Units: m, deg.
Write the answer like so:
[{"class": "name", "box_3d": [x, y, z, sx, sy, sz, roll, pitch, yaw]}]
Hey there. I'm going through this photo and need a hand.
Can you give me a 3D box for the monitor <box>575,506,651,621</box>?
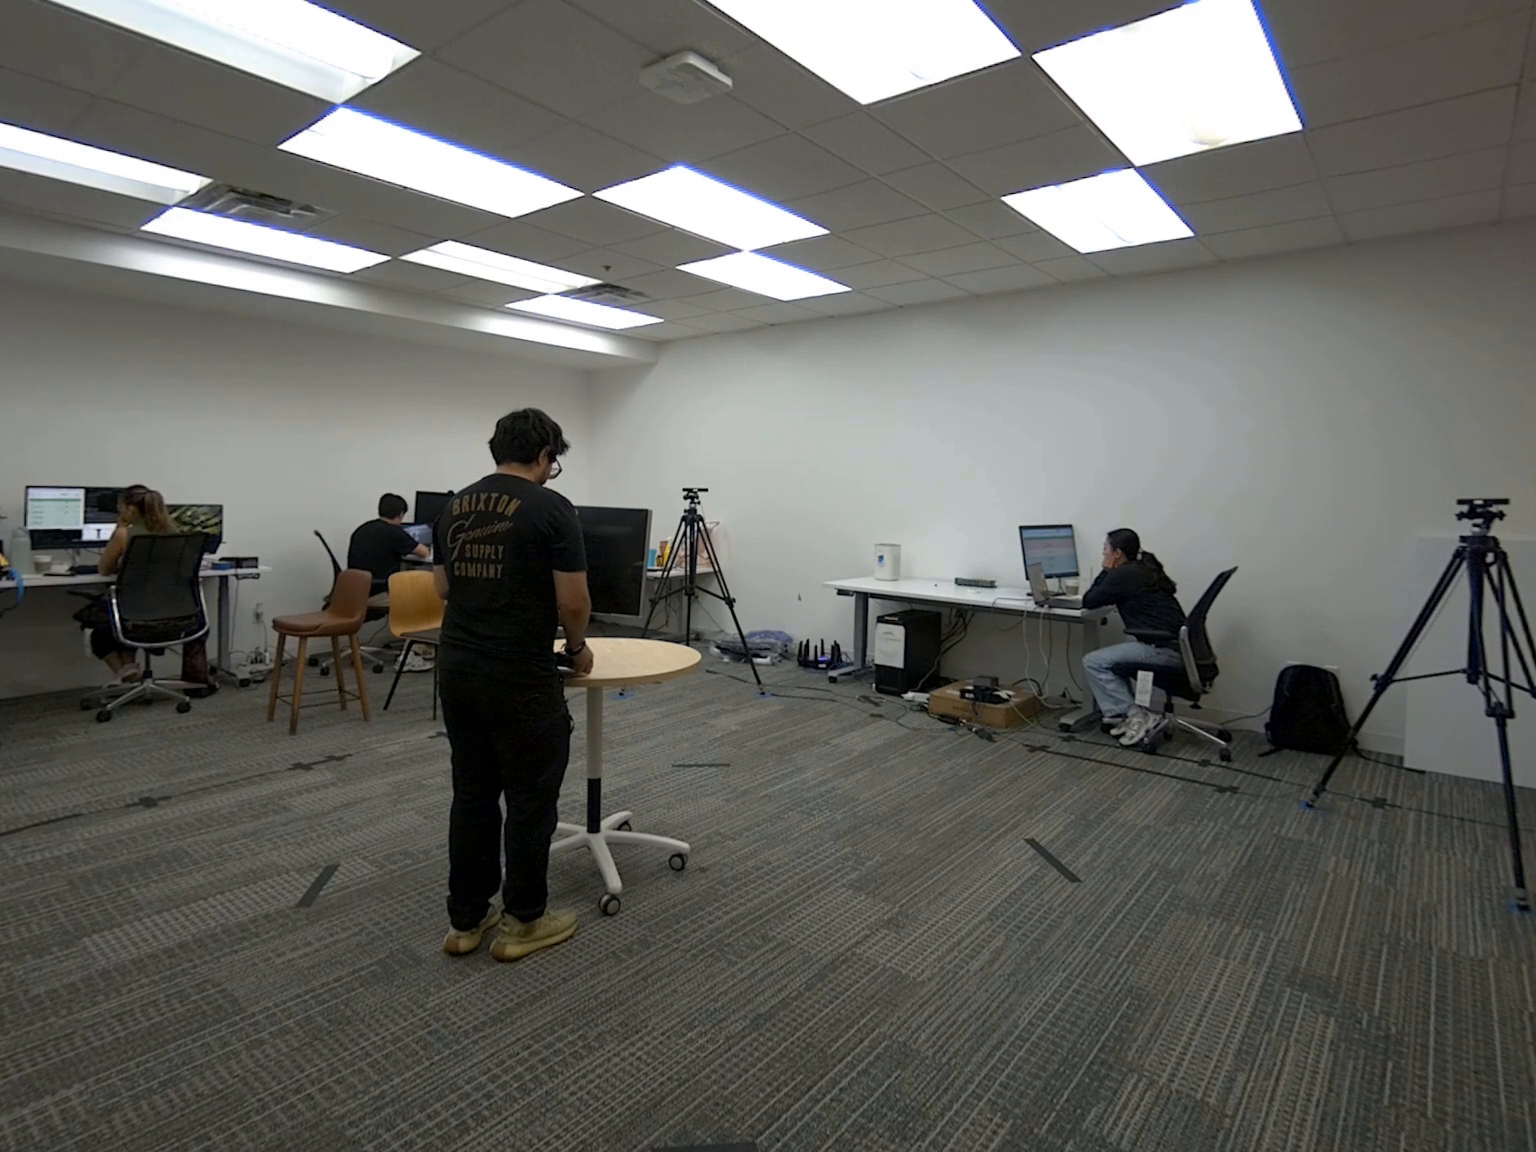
[{"class": "monitor", "box_3d": [-0.708, 0.015, 2.814, 0.575, 0.559, 0.204, 4, -10, 16]}]
